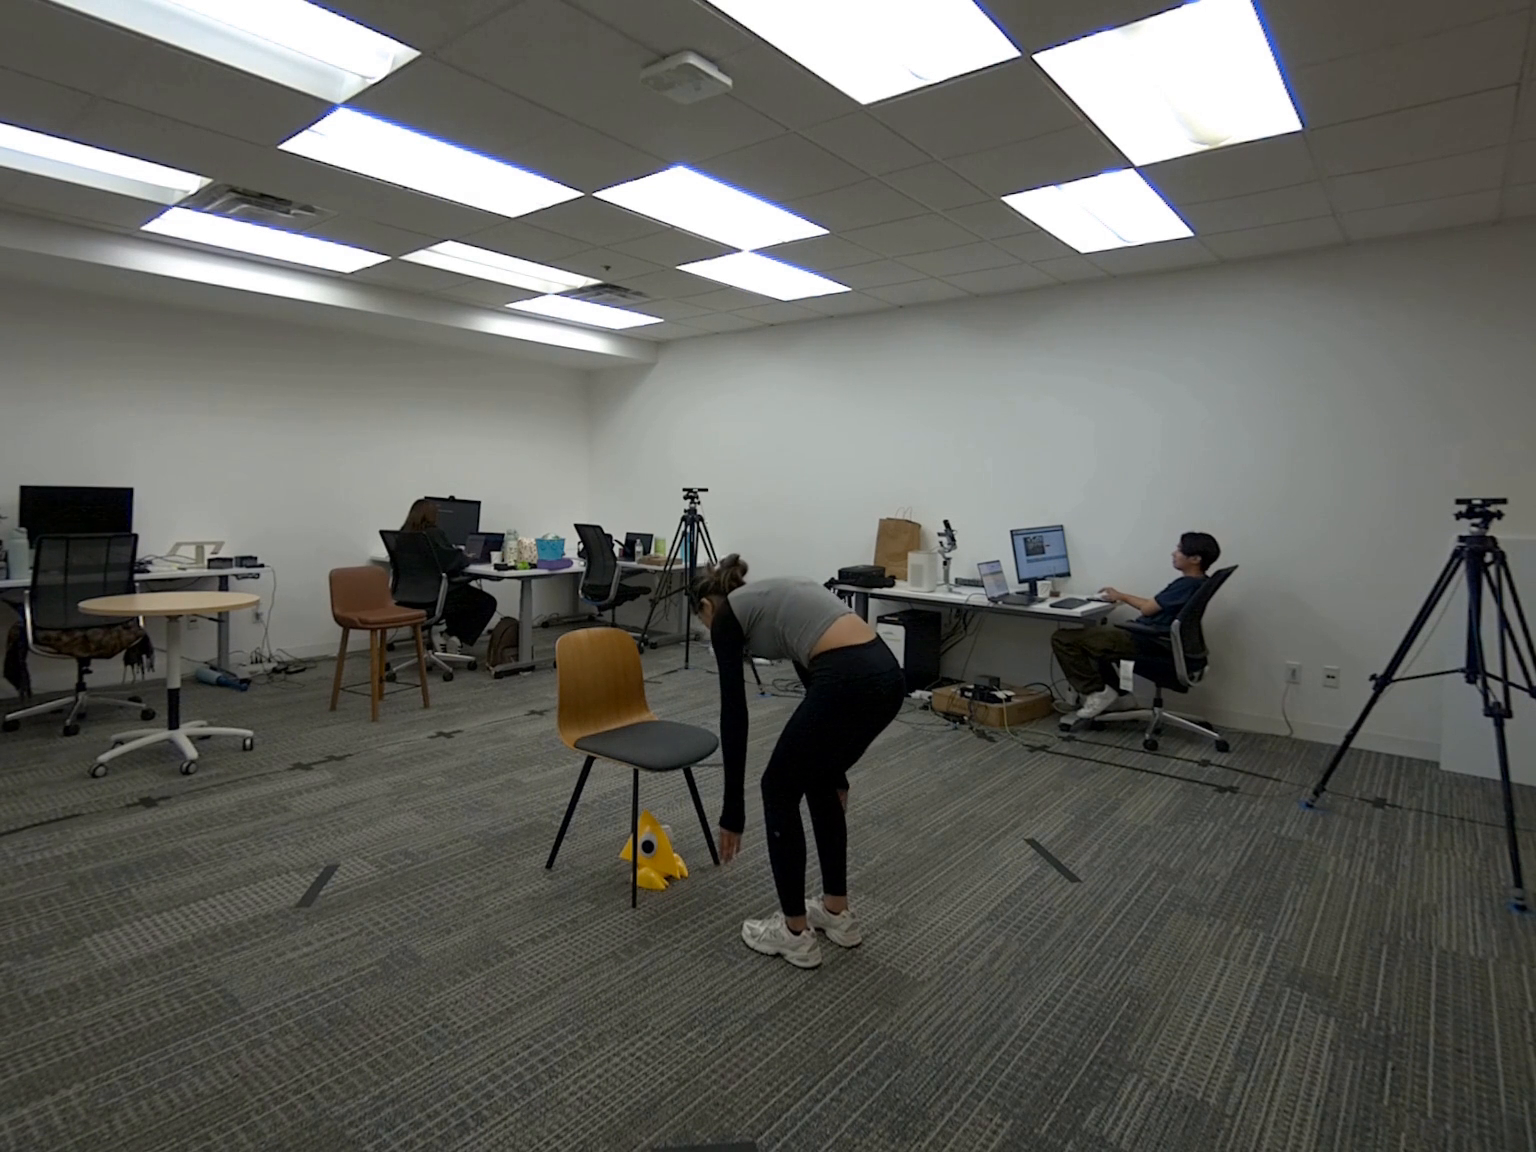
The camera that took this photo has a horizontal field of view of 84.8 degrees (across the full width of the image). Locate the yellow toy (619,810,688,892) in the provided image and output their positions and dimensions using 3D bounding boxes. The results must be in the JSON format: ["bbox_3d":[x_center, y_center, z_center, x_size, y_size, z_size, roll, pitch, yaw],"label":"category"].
[{"bbox_3d":[-0.405,0.962,3.046,0.199,0.230,0.199,3,3,36],"label":"yellow toy"}]
